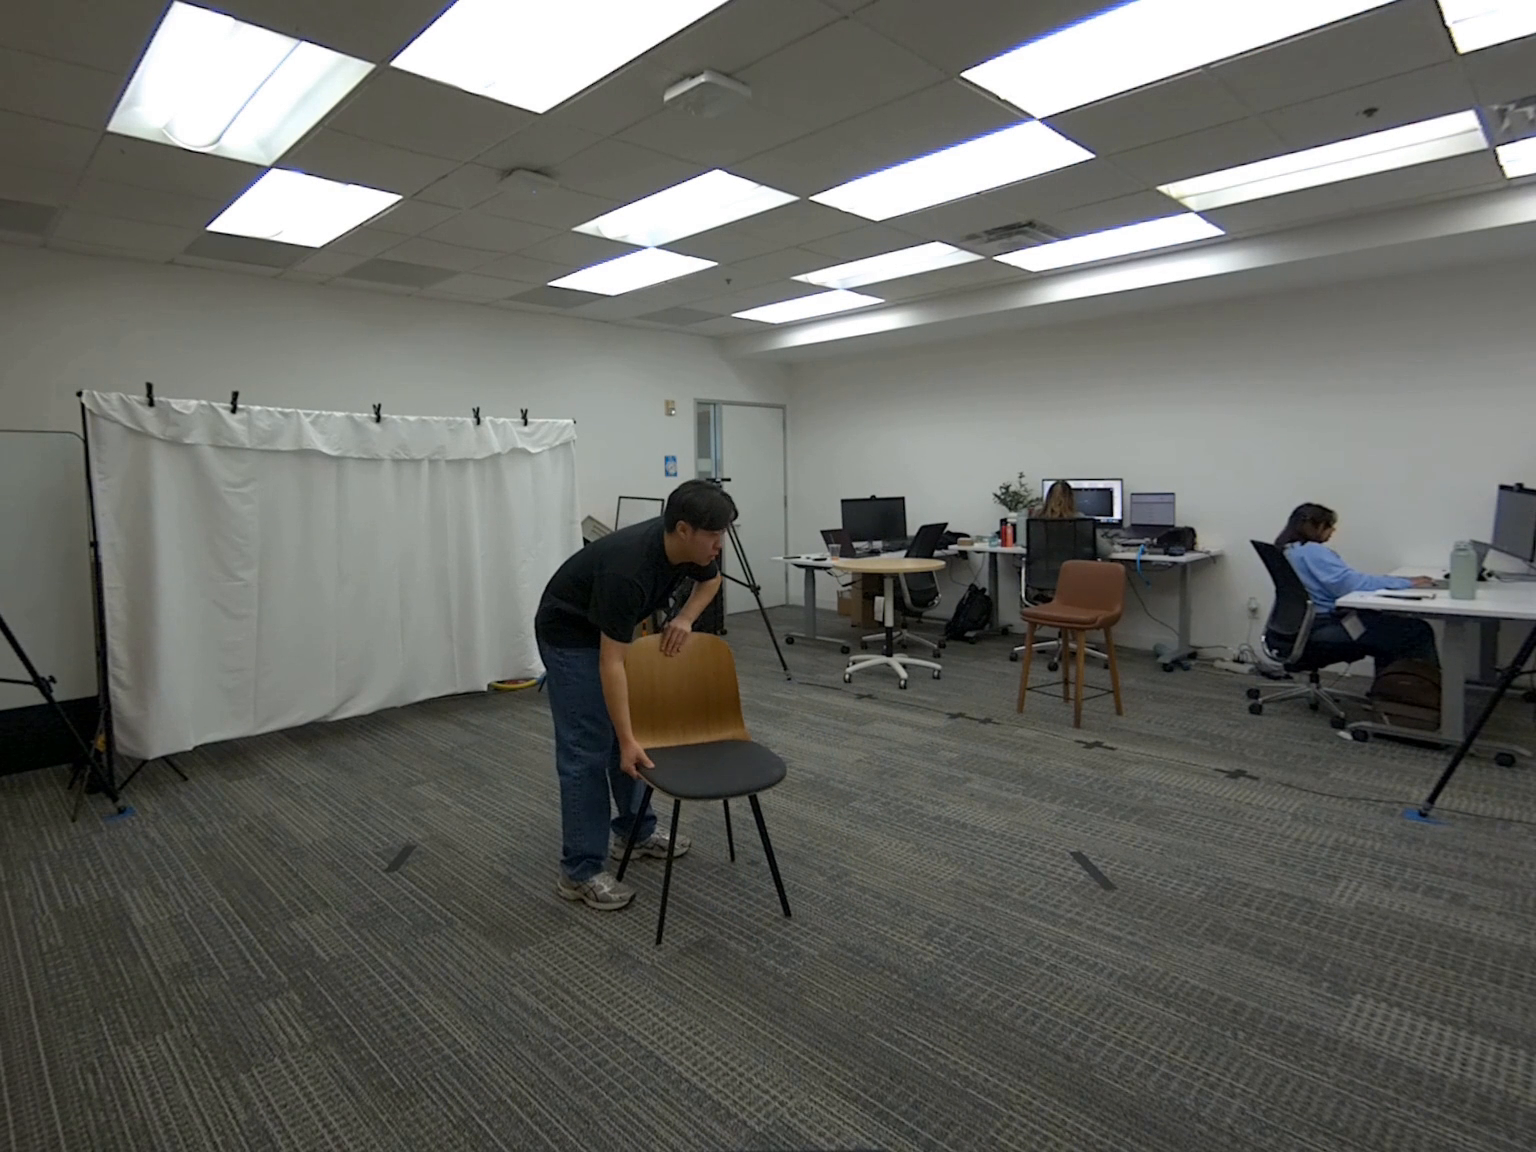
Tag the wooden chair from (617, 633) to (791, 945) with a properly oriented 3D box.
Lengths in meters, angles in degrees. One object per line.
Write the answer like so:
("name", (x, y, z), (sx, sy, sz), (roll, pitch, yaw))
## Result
("wooden chair", (-0.212, 0.647, 2.804), (0.467, 0.877, 0.535), (-1, 0, -26))
